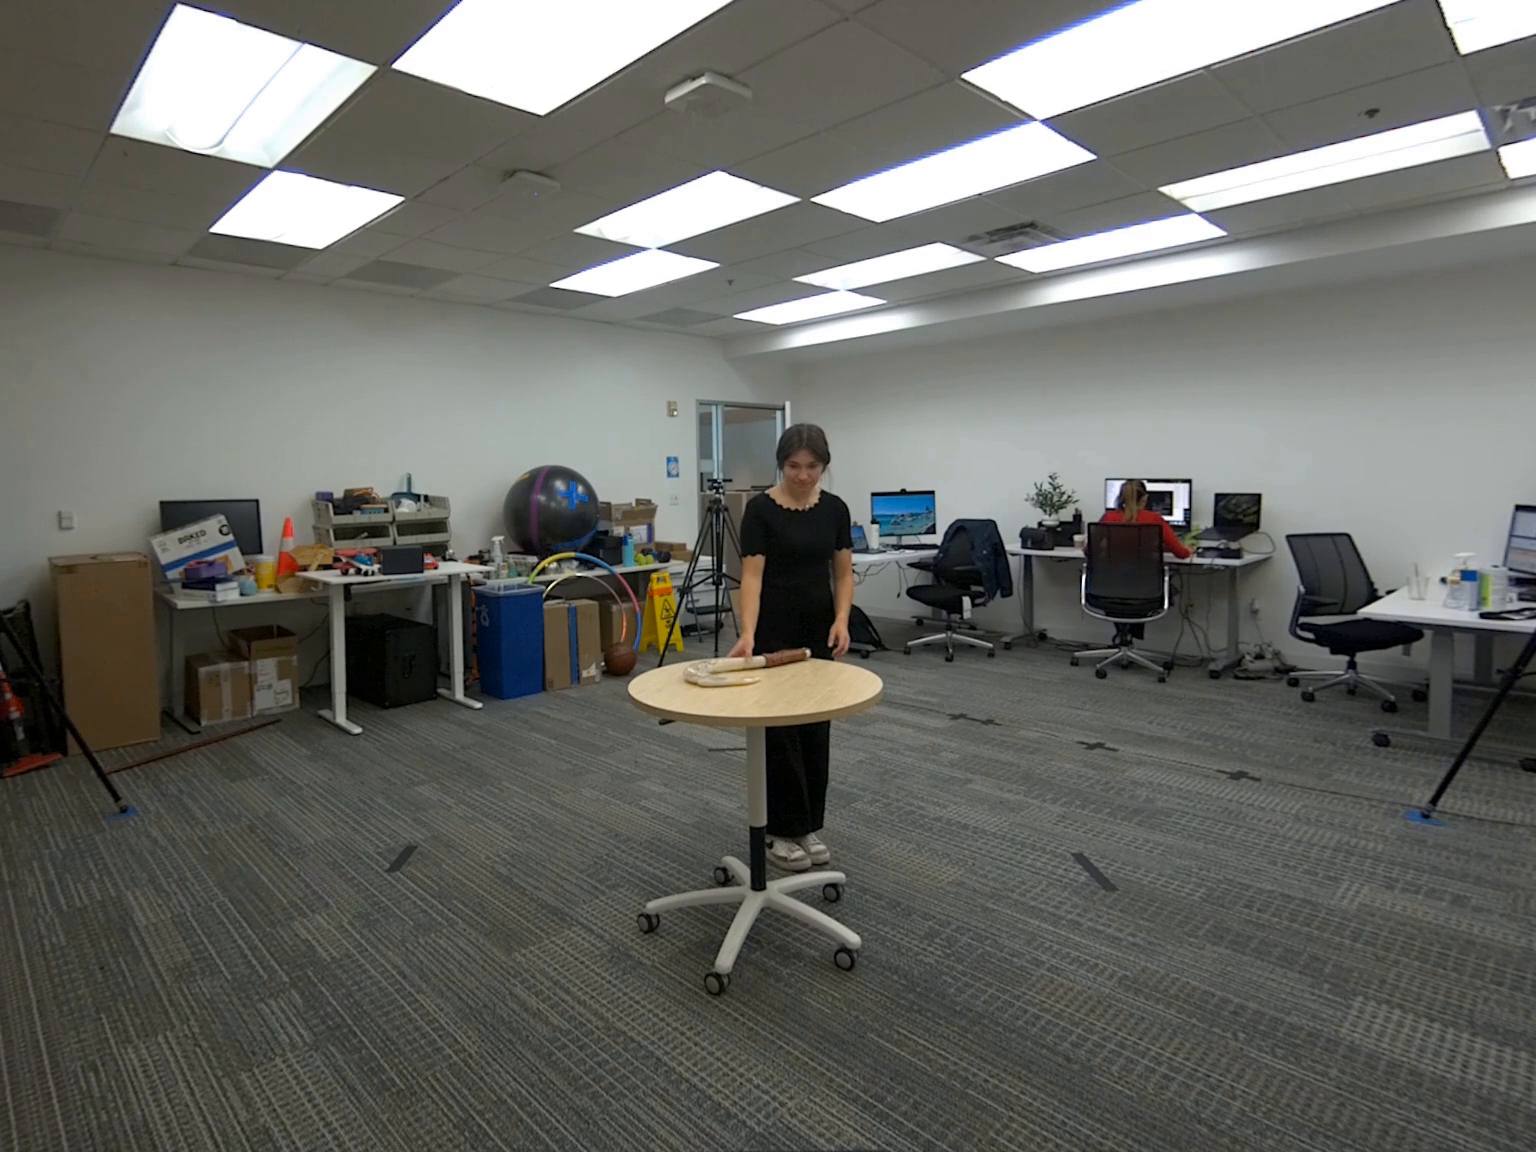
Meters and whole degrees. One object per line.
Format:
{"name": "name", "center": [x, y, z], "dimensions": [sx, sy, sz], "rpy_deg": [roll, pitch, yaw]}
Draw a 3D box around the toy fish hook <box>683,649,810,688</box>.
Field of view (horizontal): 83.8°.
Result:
{"name": "toy fish hook", "center": [-0.026, 0.302, 2.708], "dimensions": [0.494, 0.048, 0.232], "rpy_deg": [-6, 16, -35]}
